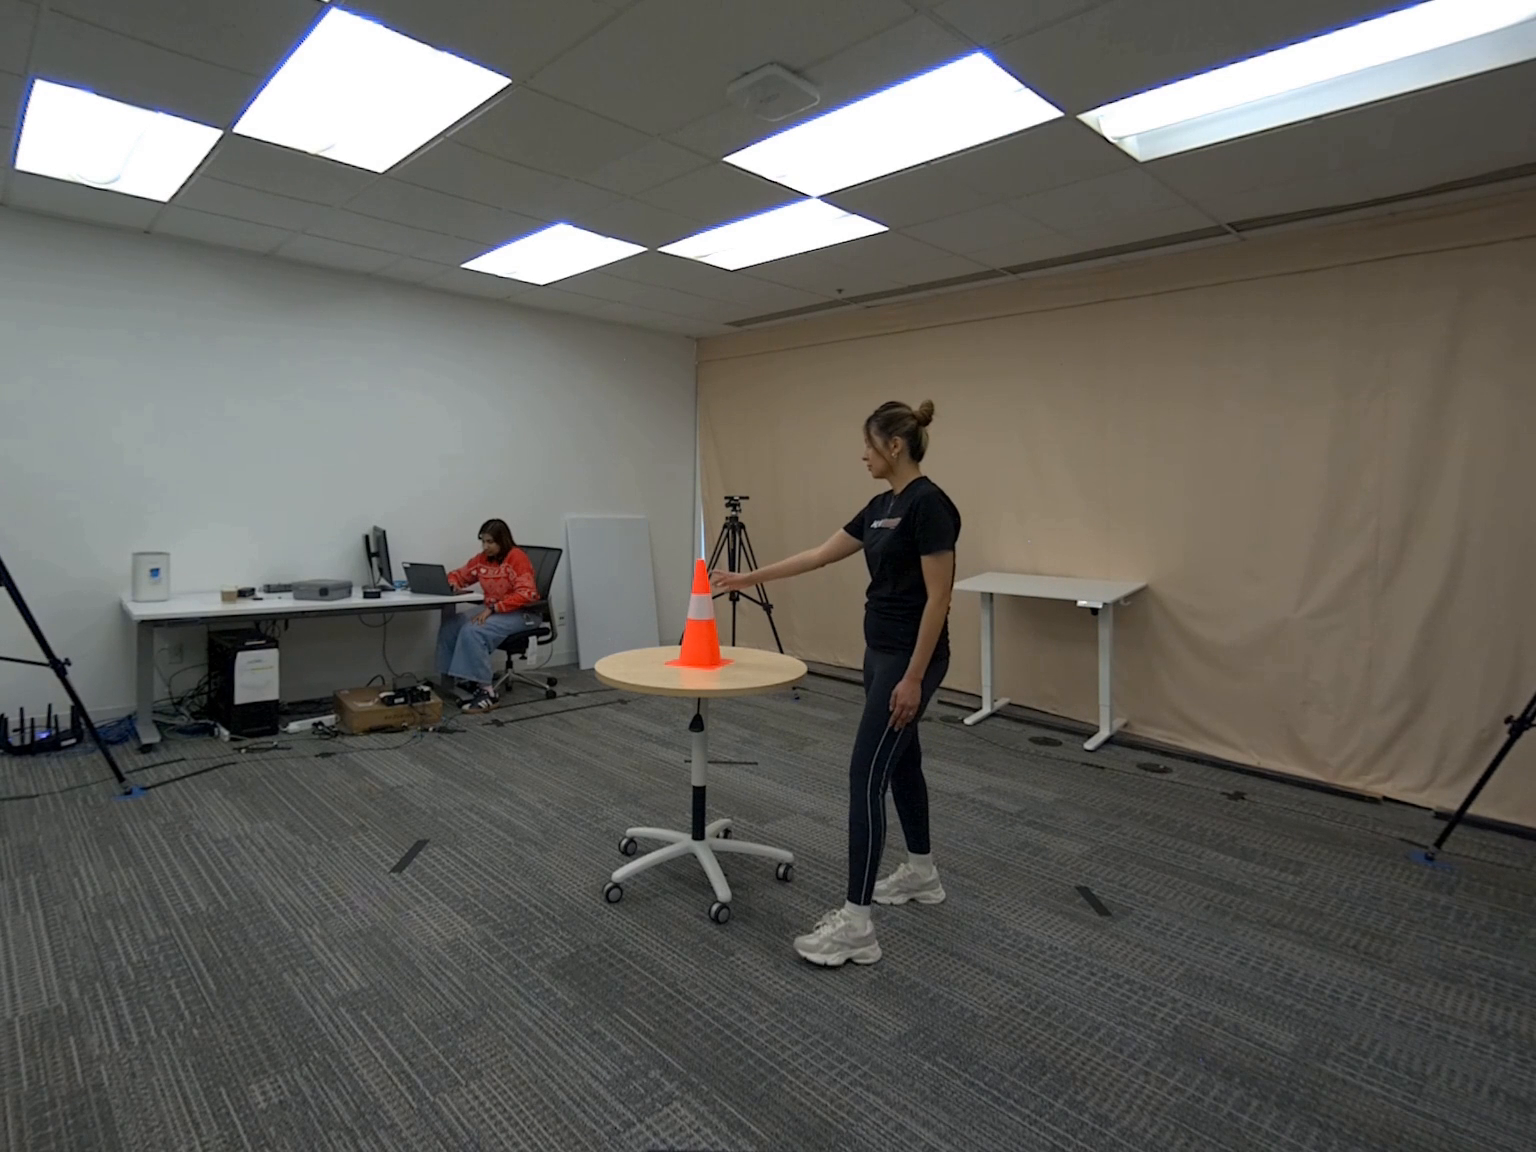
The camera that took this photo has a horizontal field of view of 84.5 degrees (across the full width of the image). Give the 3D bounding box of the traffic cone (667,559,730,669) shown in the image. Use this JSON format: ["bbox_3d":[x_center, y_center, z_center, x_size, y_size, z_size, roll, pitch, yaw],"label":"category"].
[{"bbox_3d":[-0.255,0.135,3.074,0.208,0.383,0.200,2,3,21],"label":"traffic cone"}]
